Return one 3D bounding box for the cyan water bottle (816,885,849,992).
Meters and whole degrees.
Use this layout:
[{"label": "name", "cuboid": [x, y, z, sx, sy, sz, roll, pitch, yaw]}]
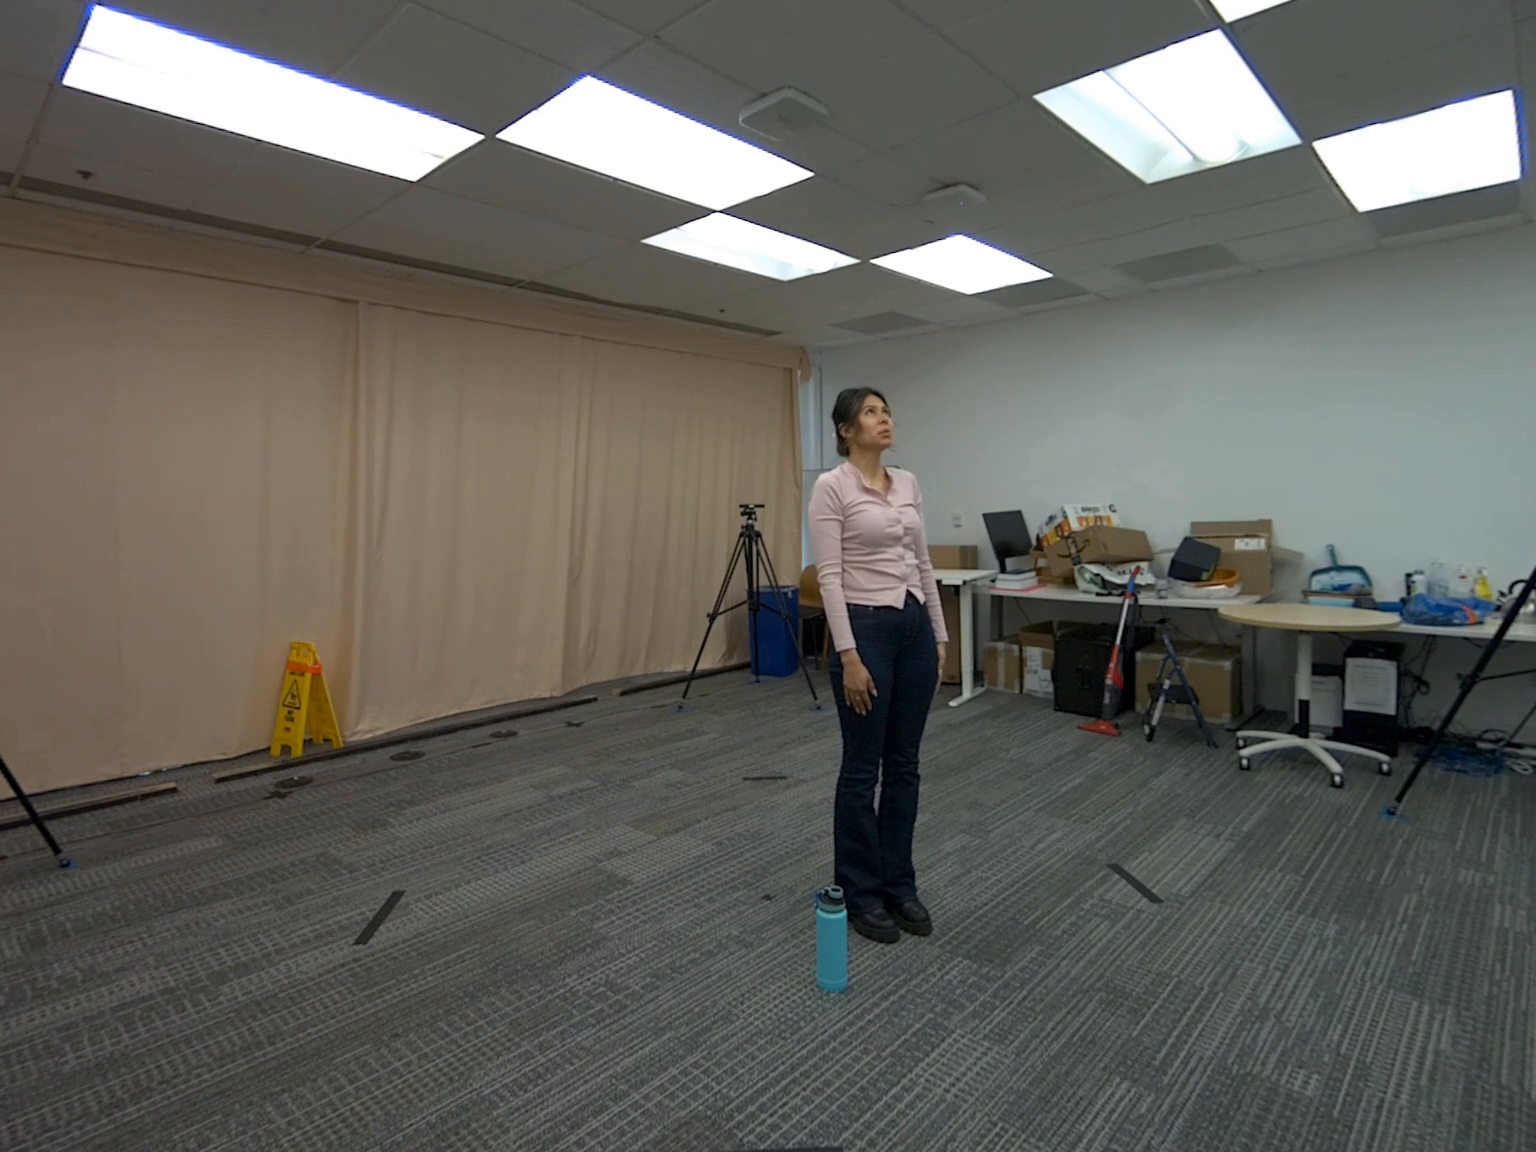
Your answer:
[{"label": "cyan water bottle", "cuboid": [0.191, 1.046, 2.427, 0.092, 0.283, 0.092, -2, 3, -2]}]
